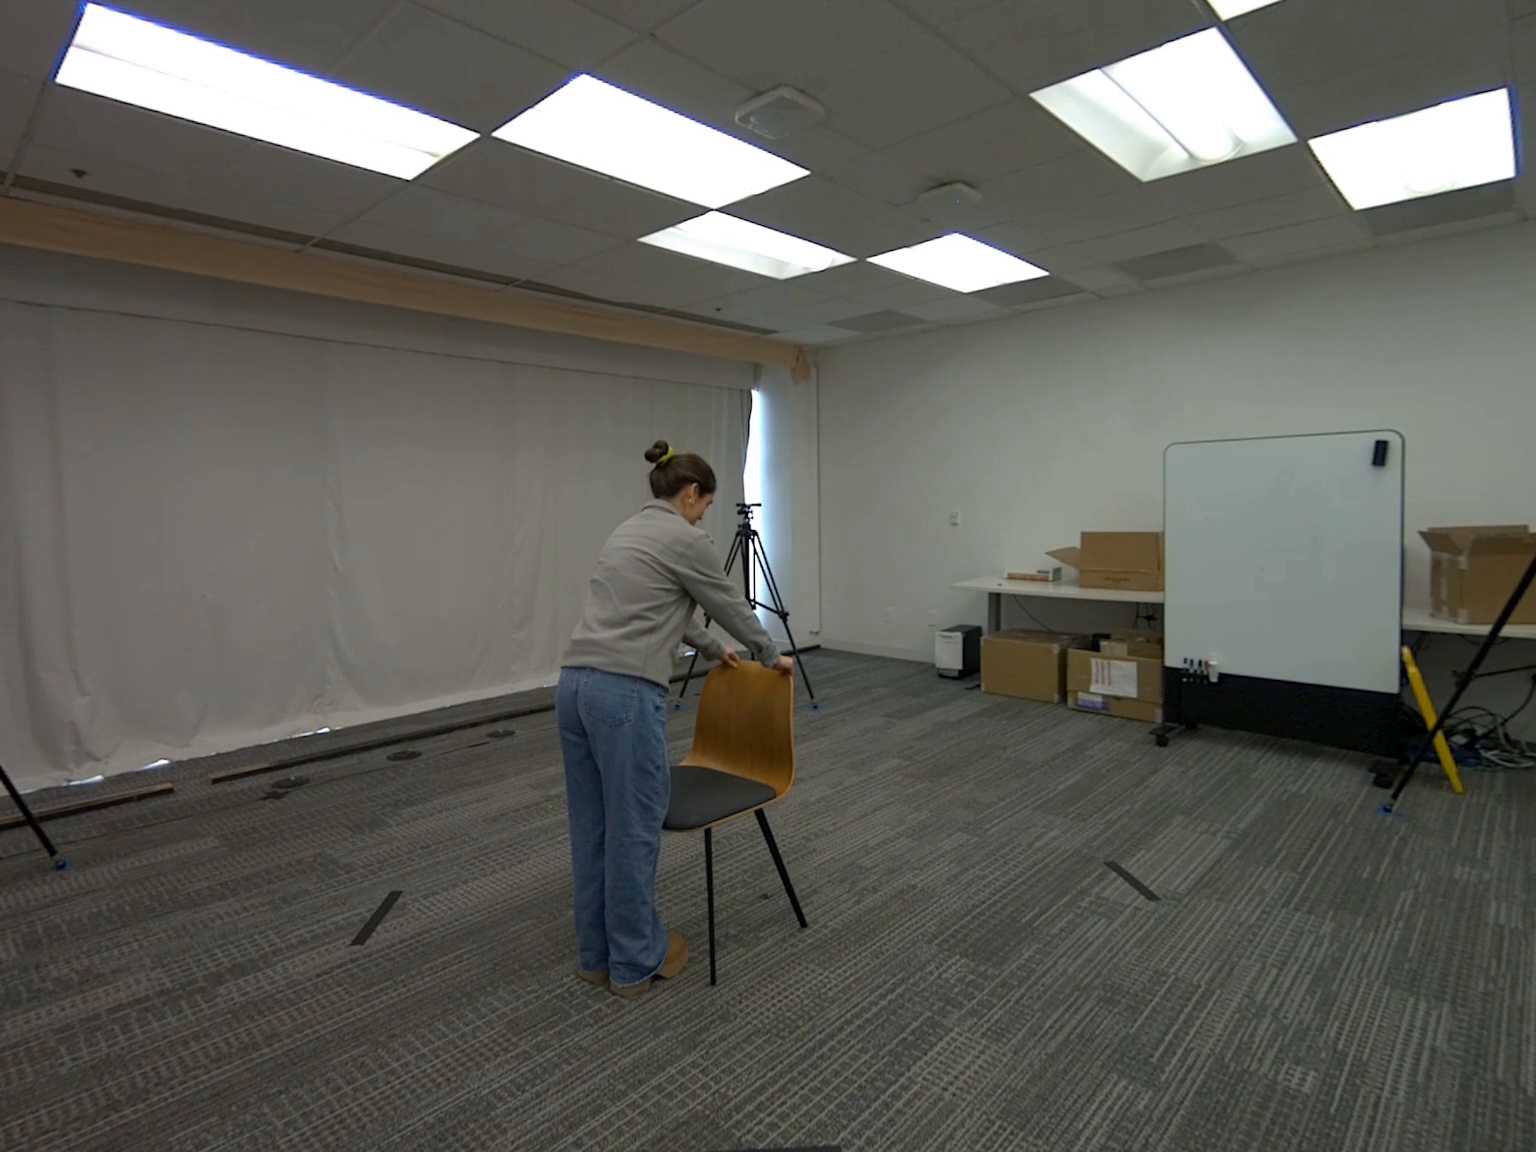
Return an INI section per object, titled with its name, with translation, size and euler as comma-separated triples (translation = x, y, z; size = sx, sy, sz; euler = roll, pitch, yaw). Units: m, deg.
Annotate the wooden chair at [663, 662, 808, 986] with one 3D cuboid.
[wooden chair]
translation = -0.191, 0.737, 2.719
size = 0.494, 0.877, 0.506
euler = 2, 1, 41
